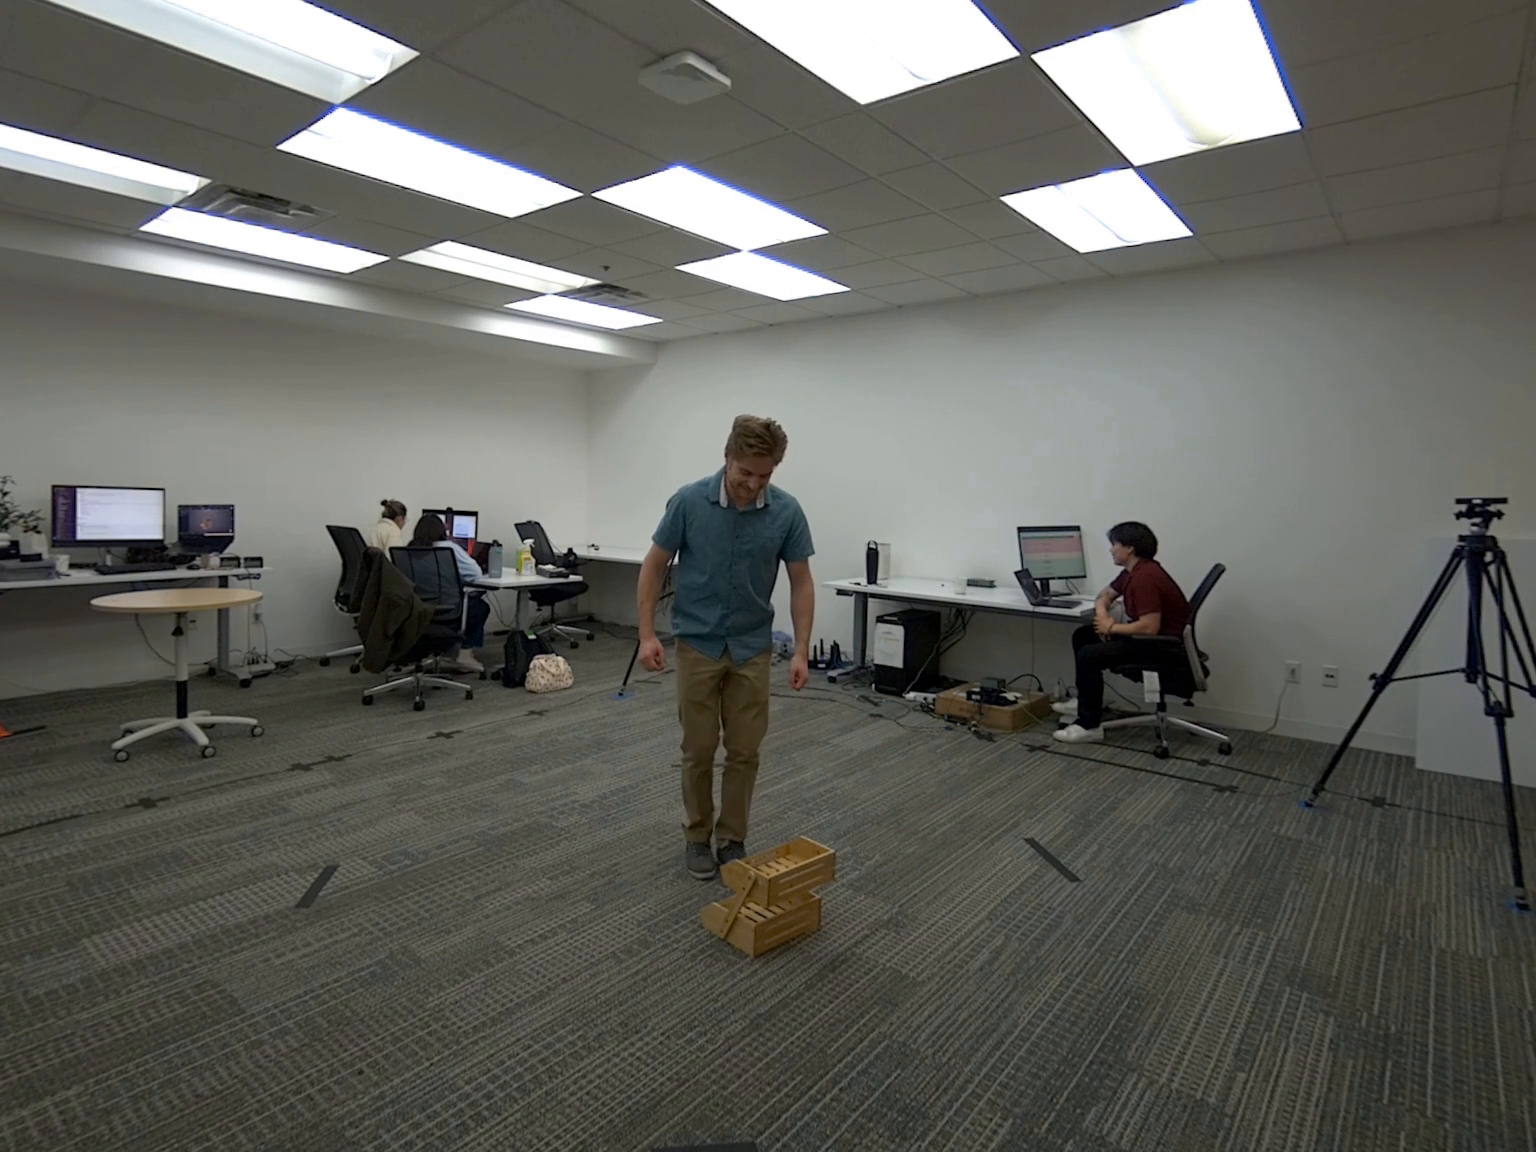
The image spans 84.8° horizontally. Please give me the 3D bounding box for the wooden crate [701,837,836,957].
[{"bbox_3d":[-0.009,0.980,2.691,0.314,0.272,0.312,-2,6,-44],"label":"wooden crate"}]
